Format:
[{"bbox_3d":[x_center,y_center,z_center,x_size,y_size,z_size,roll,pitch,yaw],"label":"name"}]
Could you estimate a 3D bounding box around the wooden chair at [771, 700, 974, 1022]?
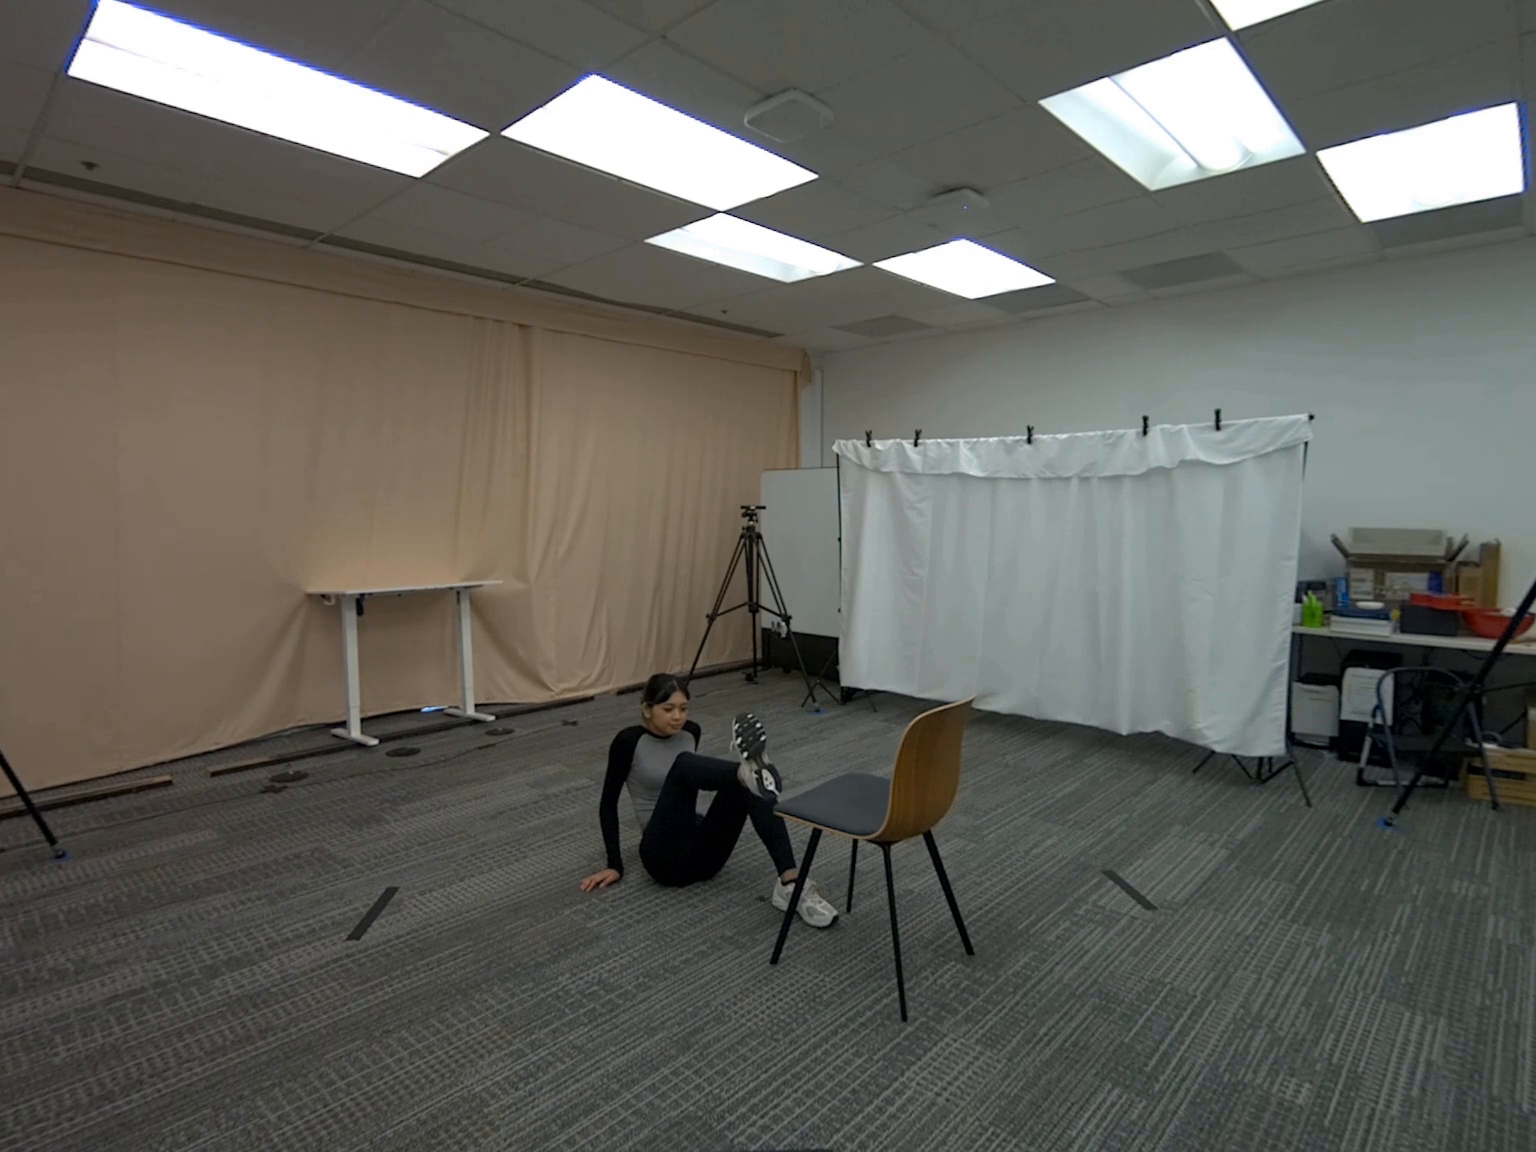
[{"bbox_3d":[0.319,0.749,2.558,0.541,0.874,0.464,8,8,38],"label":"wooden chair"}]
